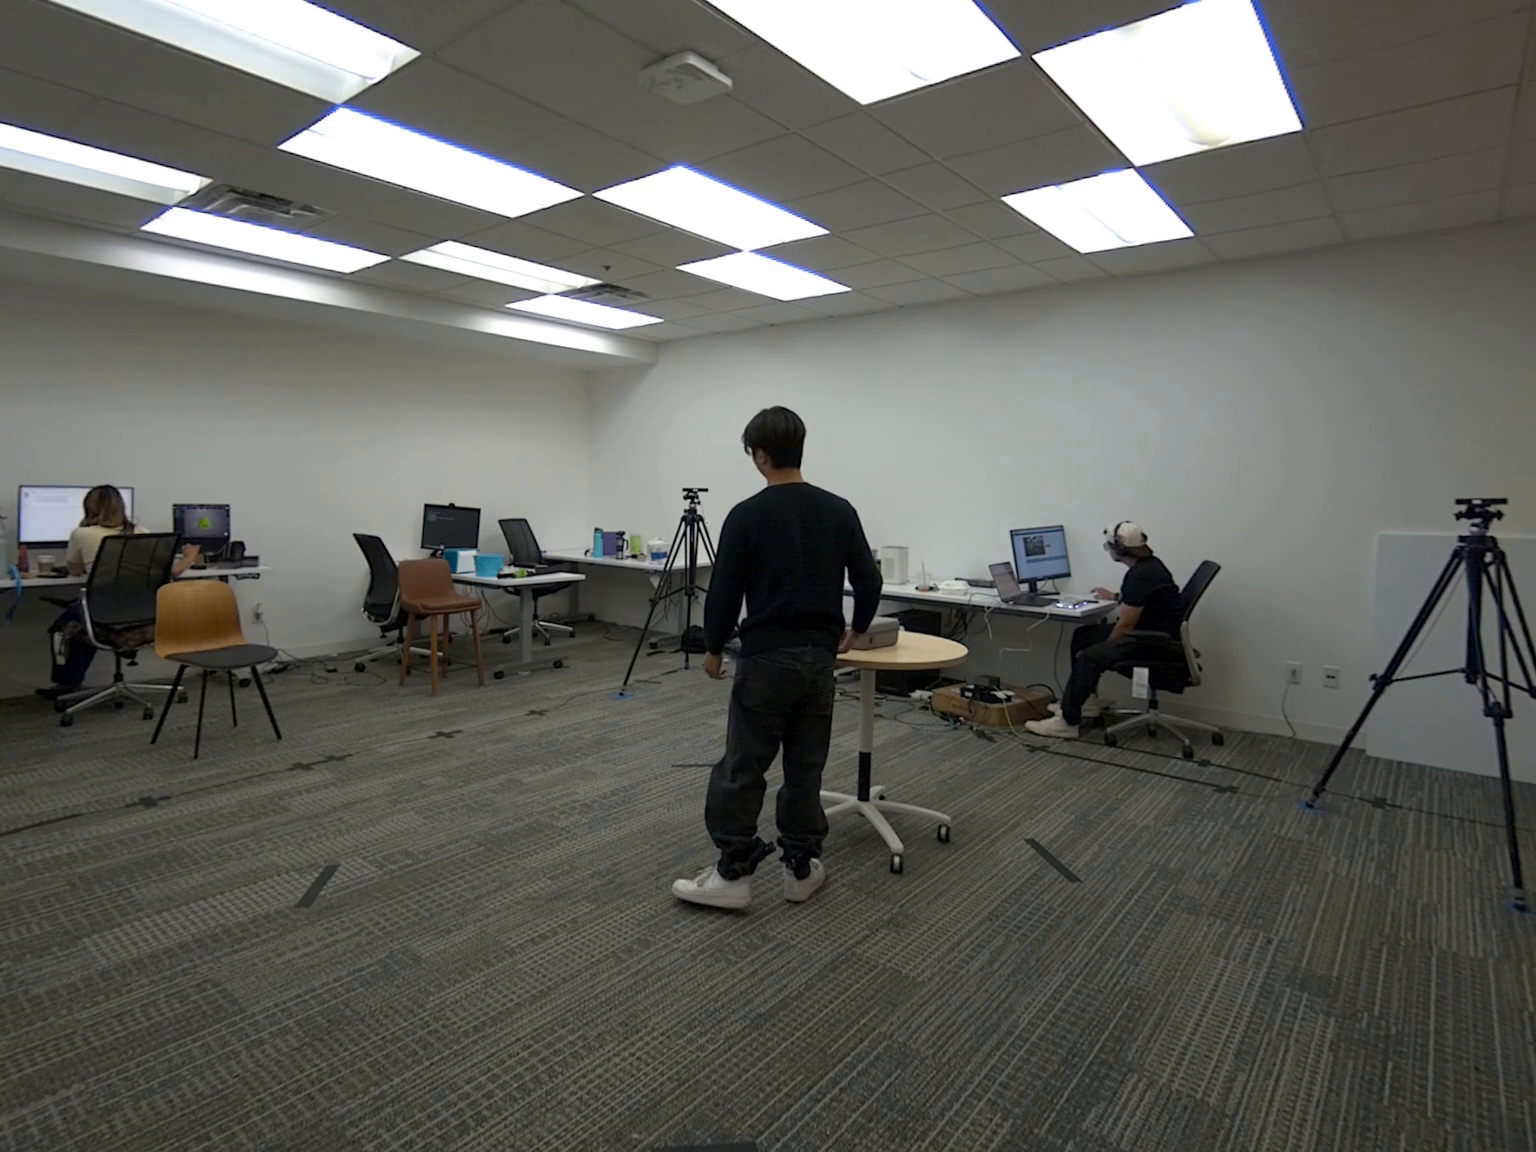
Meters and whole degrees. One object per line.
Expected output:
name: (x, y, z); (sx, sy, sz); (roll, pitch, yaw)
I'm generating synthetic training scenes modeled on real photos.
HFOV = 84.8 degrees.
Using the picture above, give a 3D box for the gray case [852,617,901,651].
gray case: (0.350, 0.213, 3.416); (0.253, 0.104, 0.266); (-4, 9, -44)
